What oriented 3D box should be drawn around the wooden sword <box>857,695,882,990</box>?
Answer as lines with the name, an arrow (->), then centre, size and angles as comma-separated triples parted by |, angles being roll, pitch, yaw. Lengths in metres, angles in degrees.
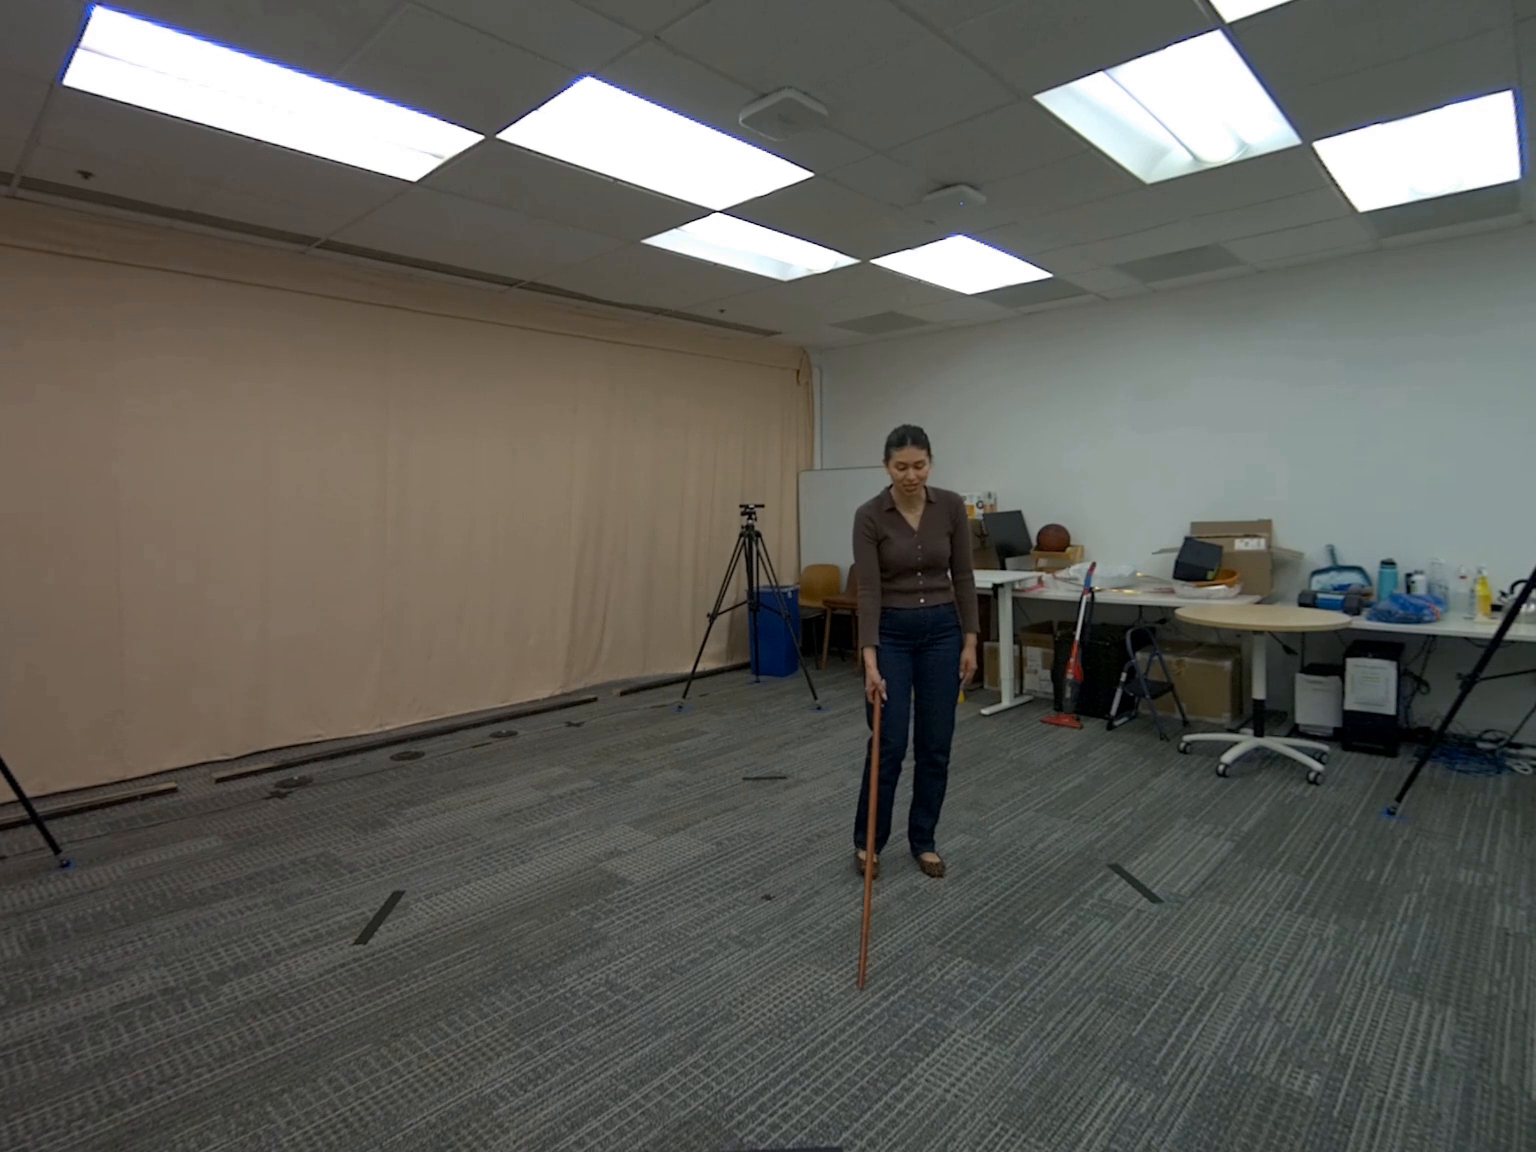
wooden sword -> 0.354, 0.775, 2.731 | 0.052, 1.037, 0.023 | -18, -44, 32
